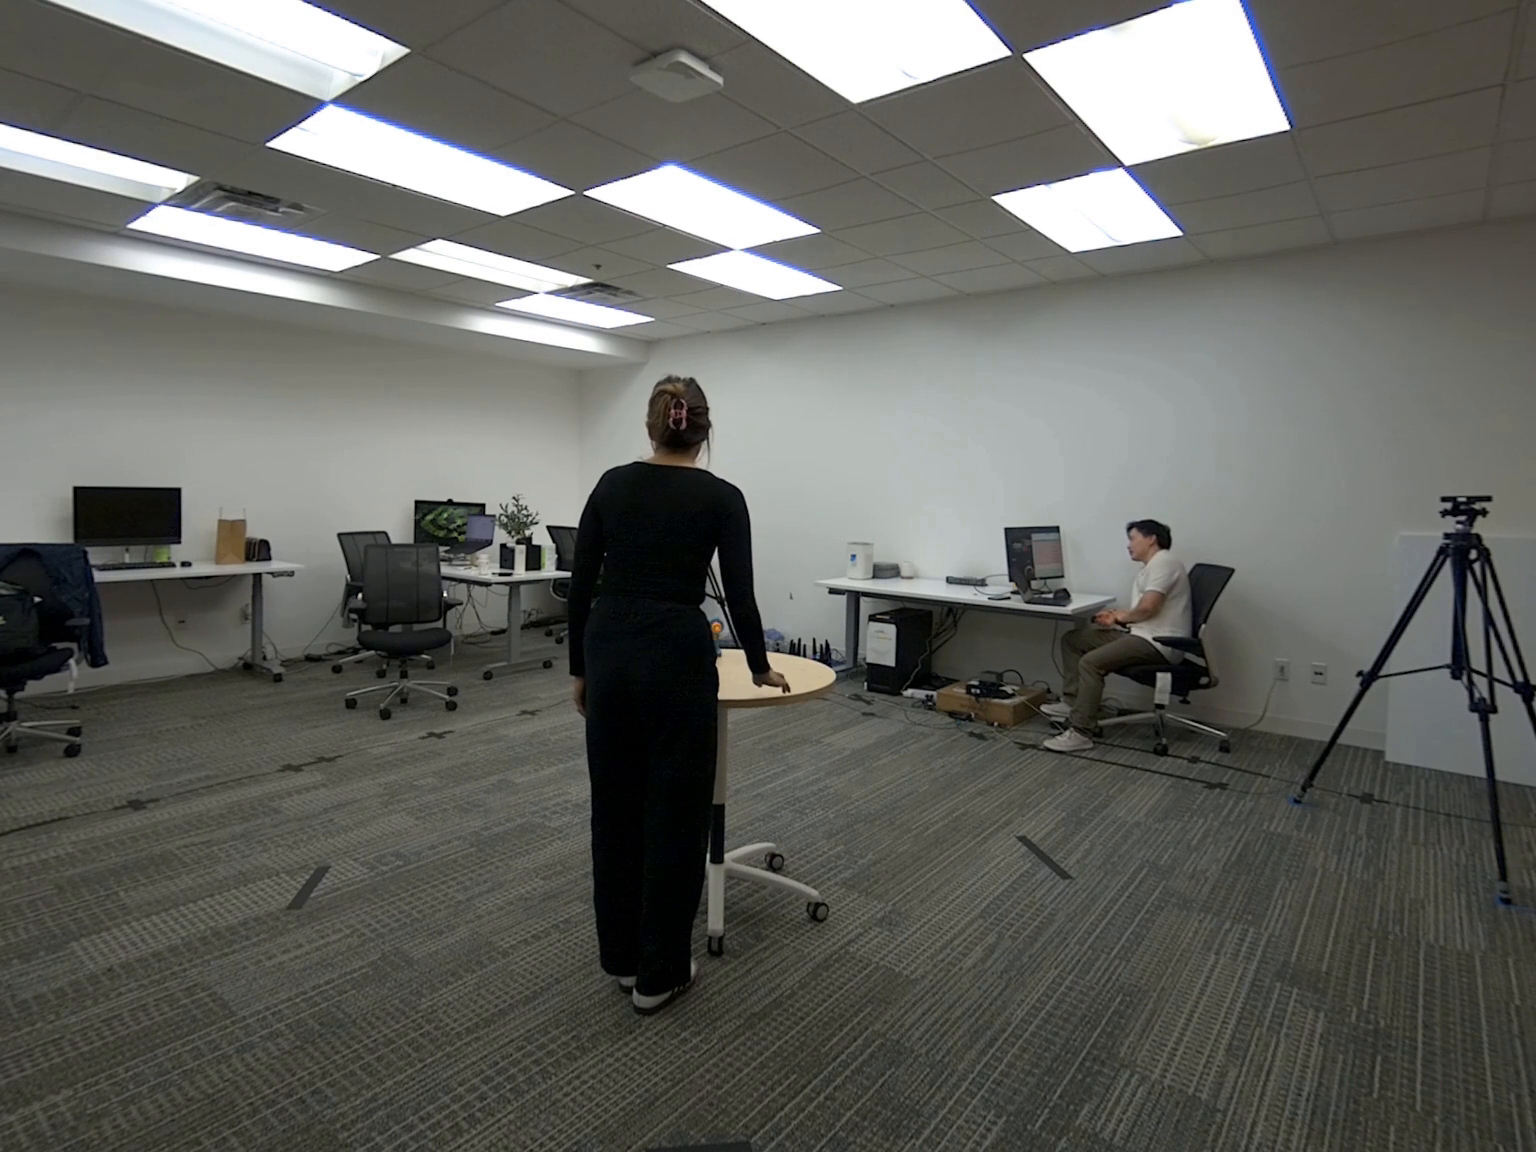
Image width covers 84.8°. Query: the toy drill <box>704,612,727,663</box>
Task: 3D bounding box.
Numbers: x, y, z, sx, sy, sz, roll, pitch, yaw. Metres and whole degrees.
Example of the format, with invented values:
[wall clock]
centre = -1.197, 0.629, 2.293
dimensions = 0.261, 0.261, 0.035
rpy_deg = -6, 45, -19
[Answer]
[toy drill]
centre = -0.193, 0.217, 3.028
dimensions = 0.060, 0.145, 0.172
rpy_deg = 0, 6, -10
